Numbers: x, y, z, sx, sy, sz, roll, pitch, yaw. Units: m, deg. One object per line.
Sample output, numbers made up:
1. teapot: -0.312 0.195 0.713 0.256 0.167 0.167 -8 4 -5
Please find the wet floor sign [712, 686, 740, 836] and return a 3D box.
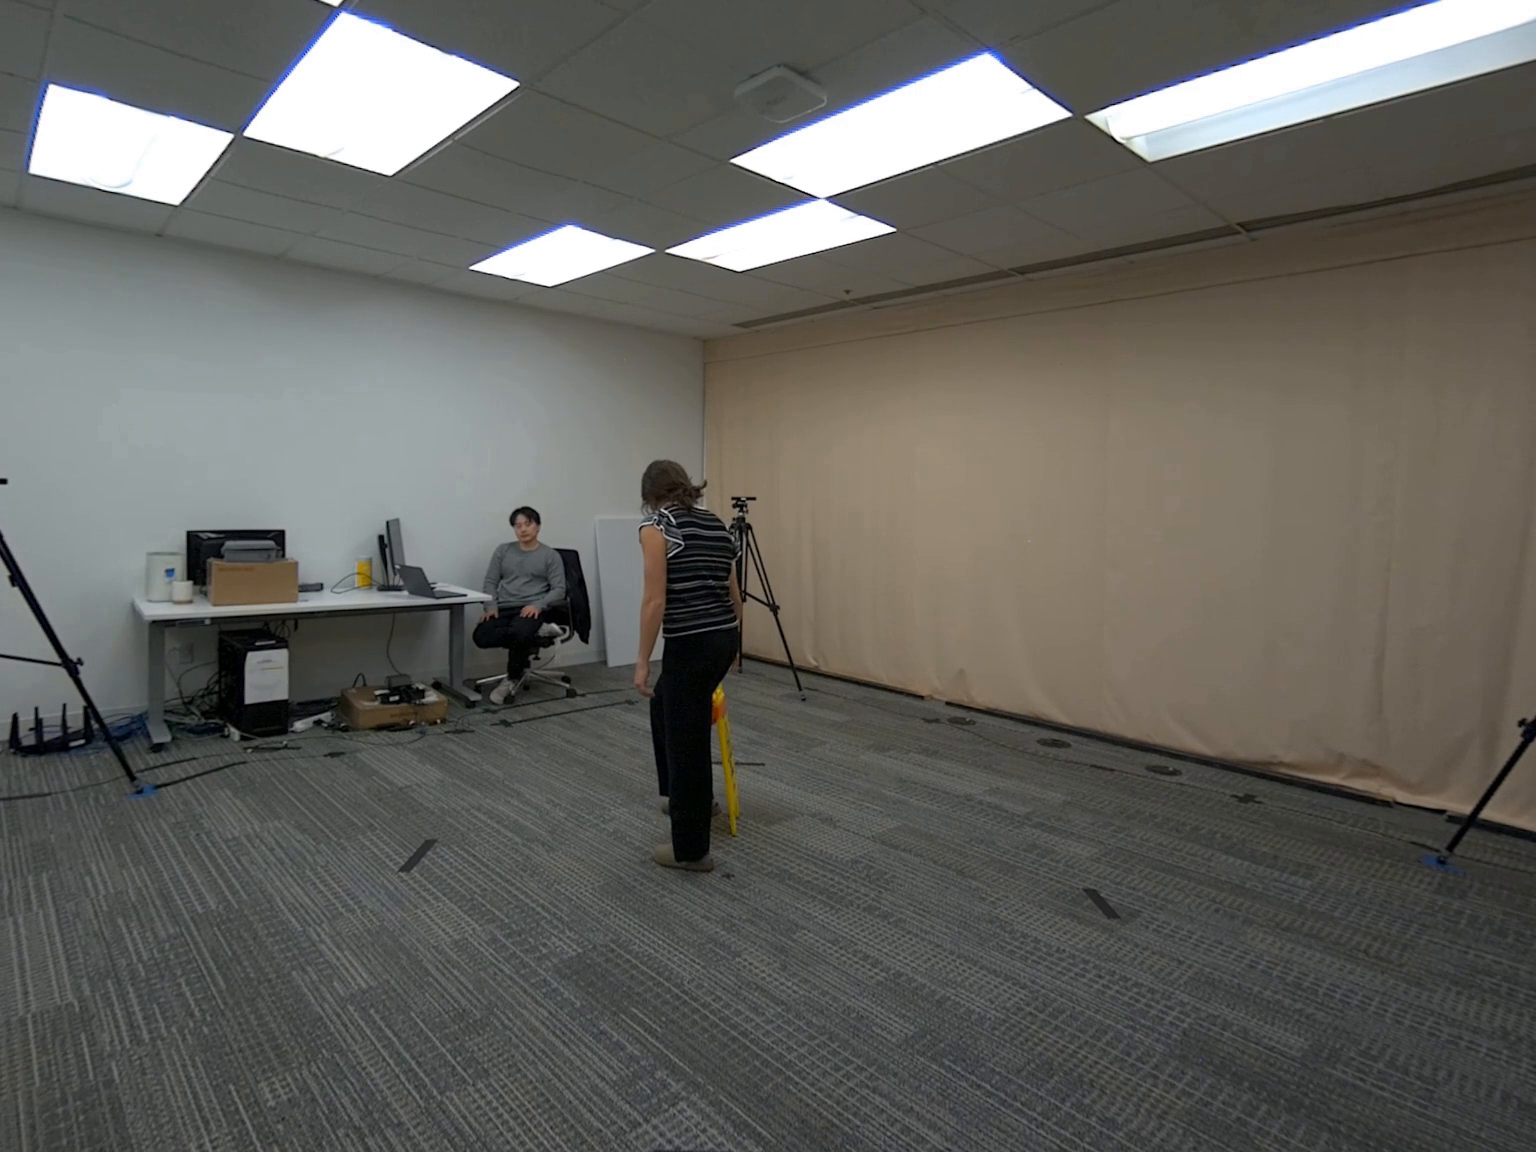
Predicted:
1. wet floor sign: -0.244 0.740 3.608 0.290 0.644 0.282 4 3 3
